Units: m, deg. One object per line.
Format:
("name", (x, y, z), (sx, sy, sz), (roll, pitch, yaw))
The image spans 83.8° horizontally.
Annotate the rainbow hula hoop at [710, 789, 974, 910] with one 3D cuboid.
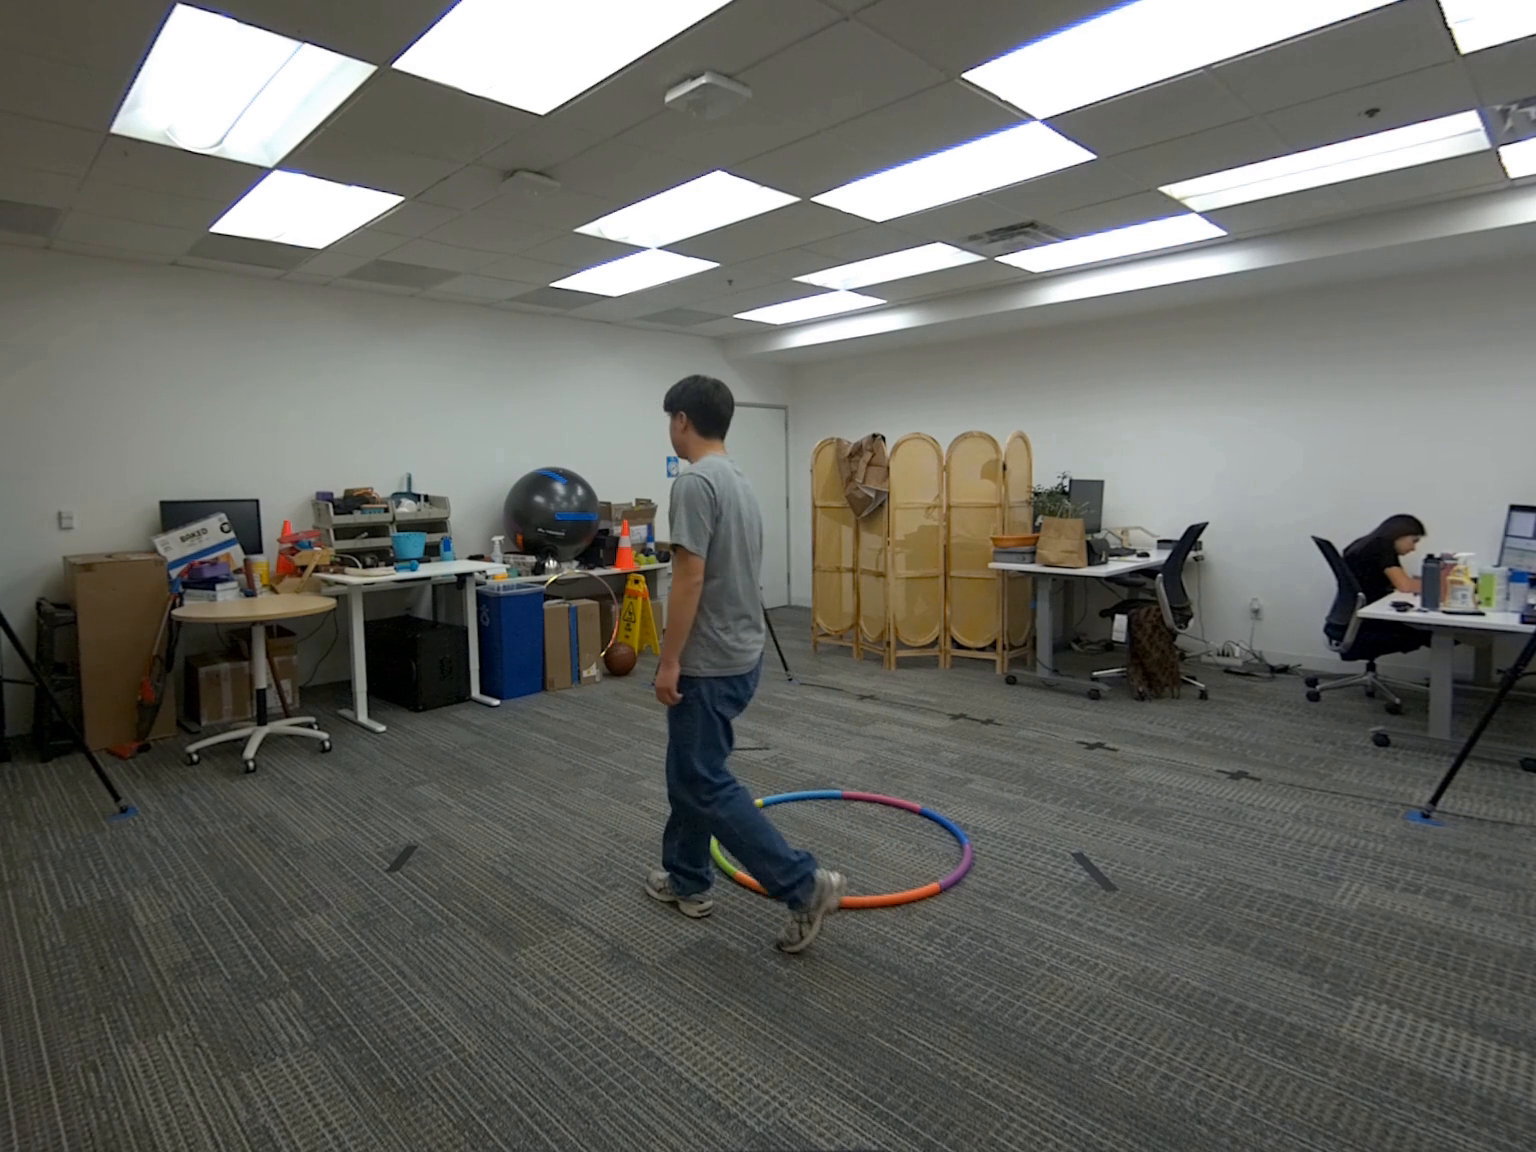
("rainbow hula hoop", (0.258, 0.994, 3.249), (0.978, 0.035, 0.984), (-1, 6, -2))
